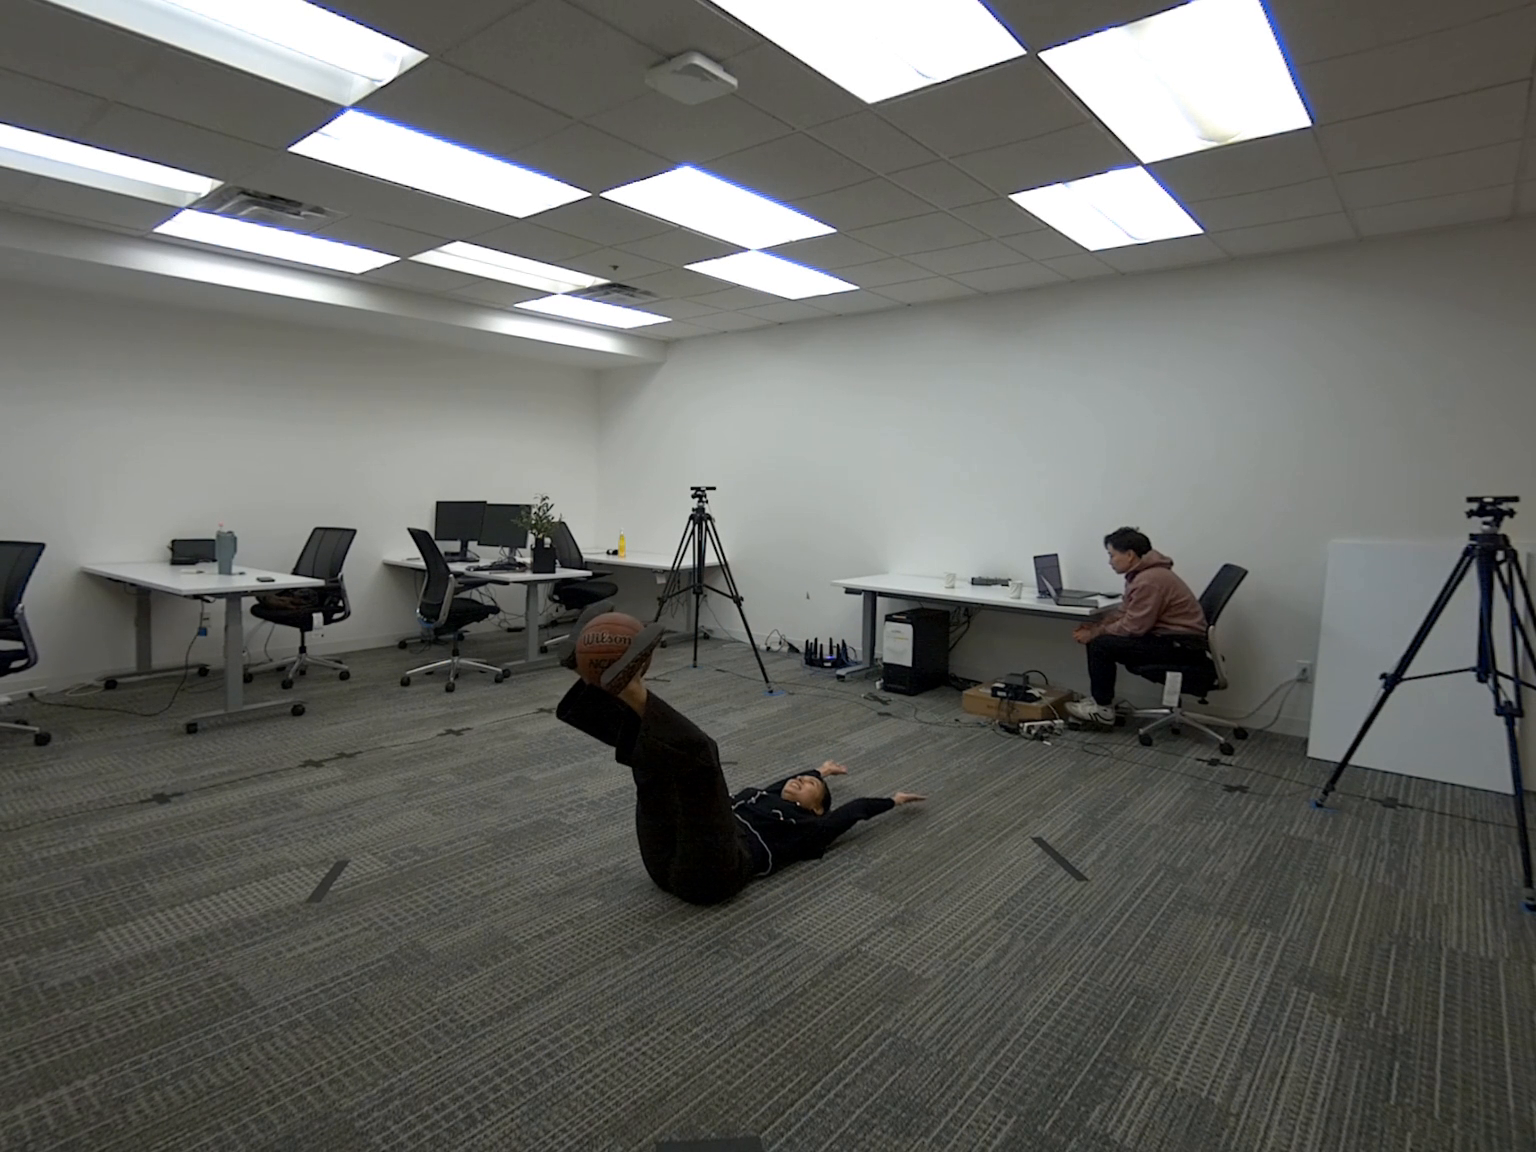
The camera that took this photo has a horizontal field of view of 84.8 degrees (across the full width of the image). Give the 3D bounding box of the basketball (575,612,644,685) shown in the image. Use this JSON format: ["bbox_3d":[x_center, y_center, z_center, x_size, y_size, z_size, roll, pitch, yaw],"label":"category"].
[{"bbox_3d":[-0.480,0.229,2.622,0.236,0.235,0.237,1,4,-2],"label":"basketball"}]
